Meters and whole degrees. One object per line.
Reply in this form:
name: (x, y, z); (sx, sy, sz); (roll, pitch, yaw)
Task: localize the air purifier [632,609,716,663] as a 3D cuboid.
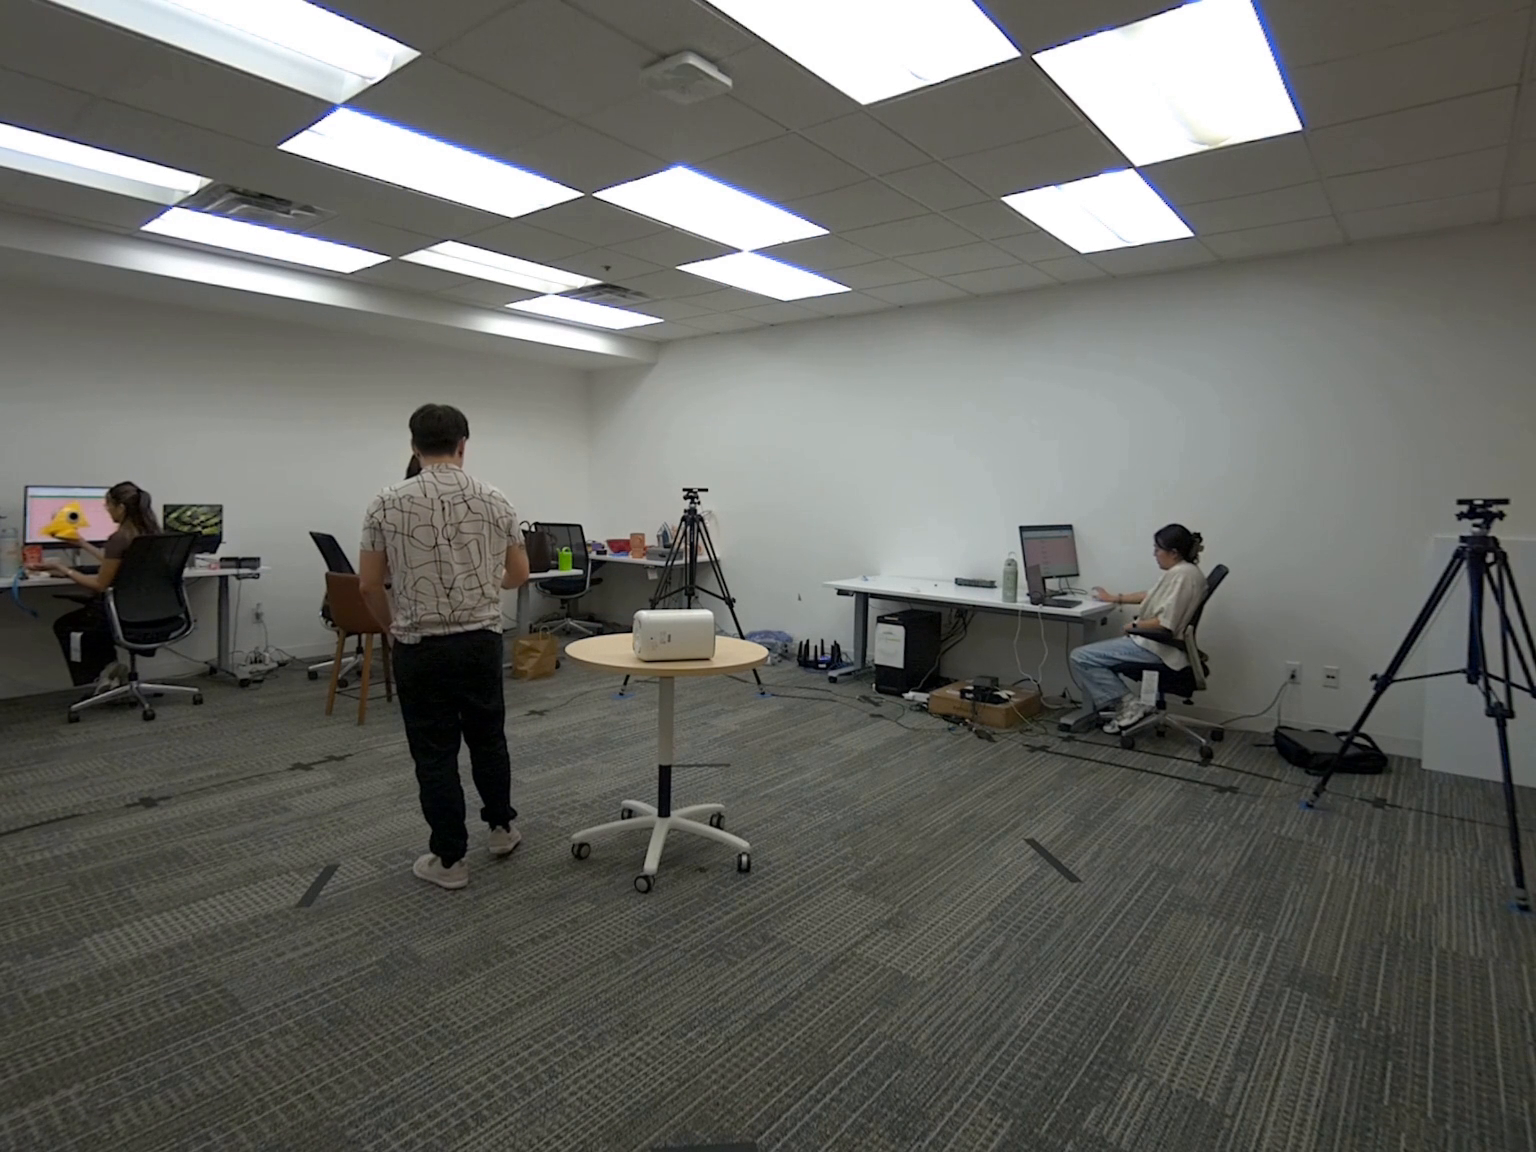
air purifier: (-0.348, 0.208, 3.018); (0.260, 0.171, 0.175); (0, 4, -20)
